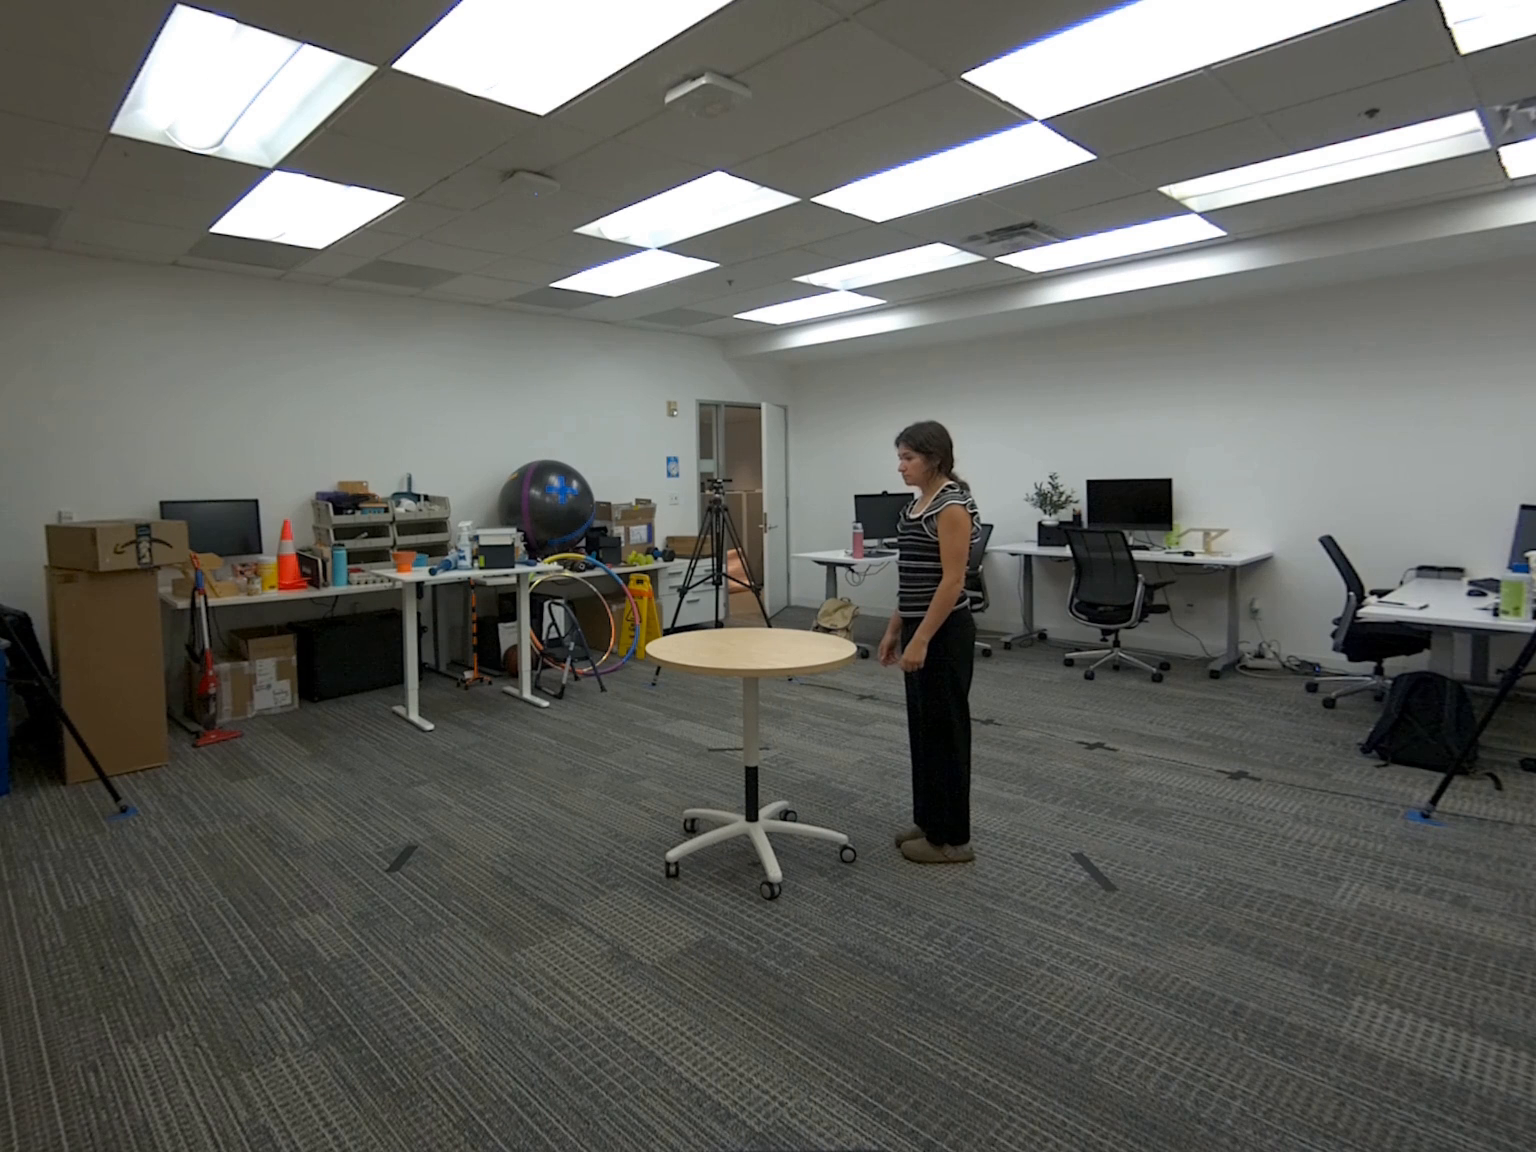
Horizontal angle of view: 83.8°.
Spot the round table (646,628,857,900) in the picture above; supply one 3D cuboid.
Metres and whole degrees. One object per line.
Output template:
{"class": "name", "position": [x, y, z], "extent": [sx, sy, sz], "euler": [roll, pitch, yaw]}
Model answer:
{"class": "round table", "position": [-0.050, 0.644, 3.132], "extent": [0.784, 0.783, 0.789], "euler": [-1, 5, -2]}
